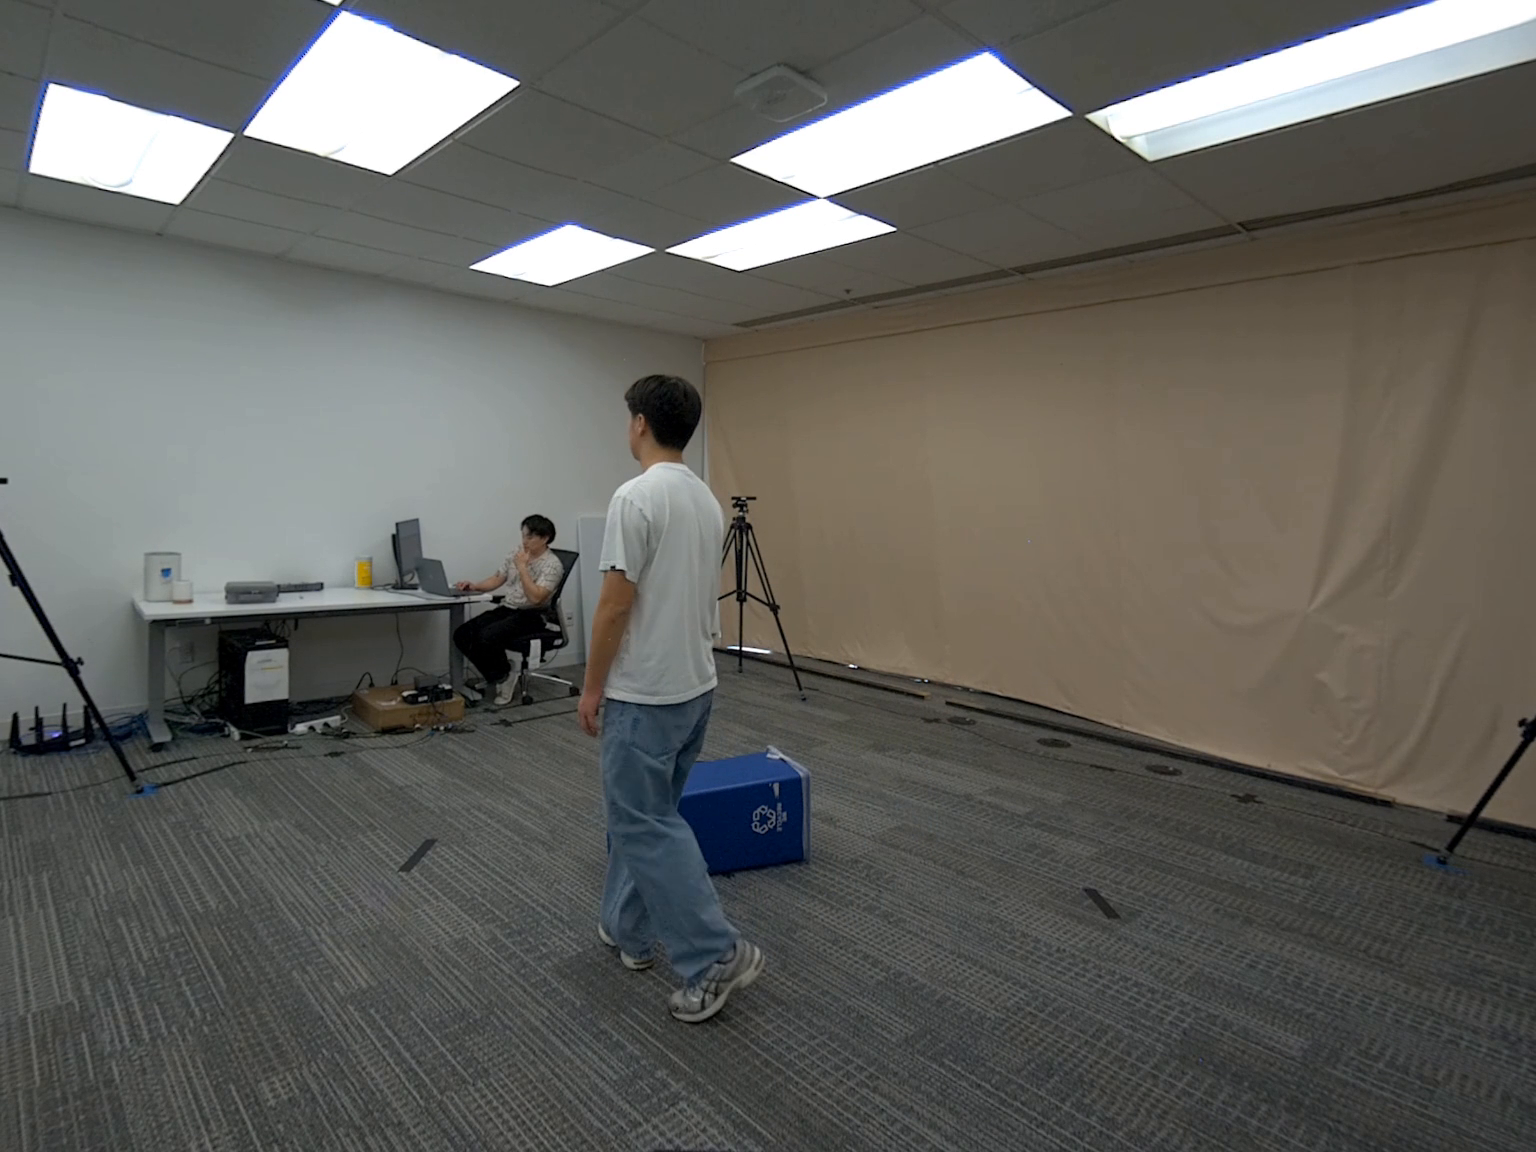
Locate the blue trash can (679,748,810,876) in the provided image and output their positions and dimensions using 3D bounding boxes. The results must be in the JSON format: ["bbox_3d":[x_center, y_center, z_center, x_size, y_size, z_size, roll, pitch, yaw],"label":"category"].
[{"bbox_3d":[-0.237,0.930,3.226,0.702,0.376,0.382,-4,6,-24],"label":"blue trash can"}]
